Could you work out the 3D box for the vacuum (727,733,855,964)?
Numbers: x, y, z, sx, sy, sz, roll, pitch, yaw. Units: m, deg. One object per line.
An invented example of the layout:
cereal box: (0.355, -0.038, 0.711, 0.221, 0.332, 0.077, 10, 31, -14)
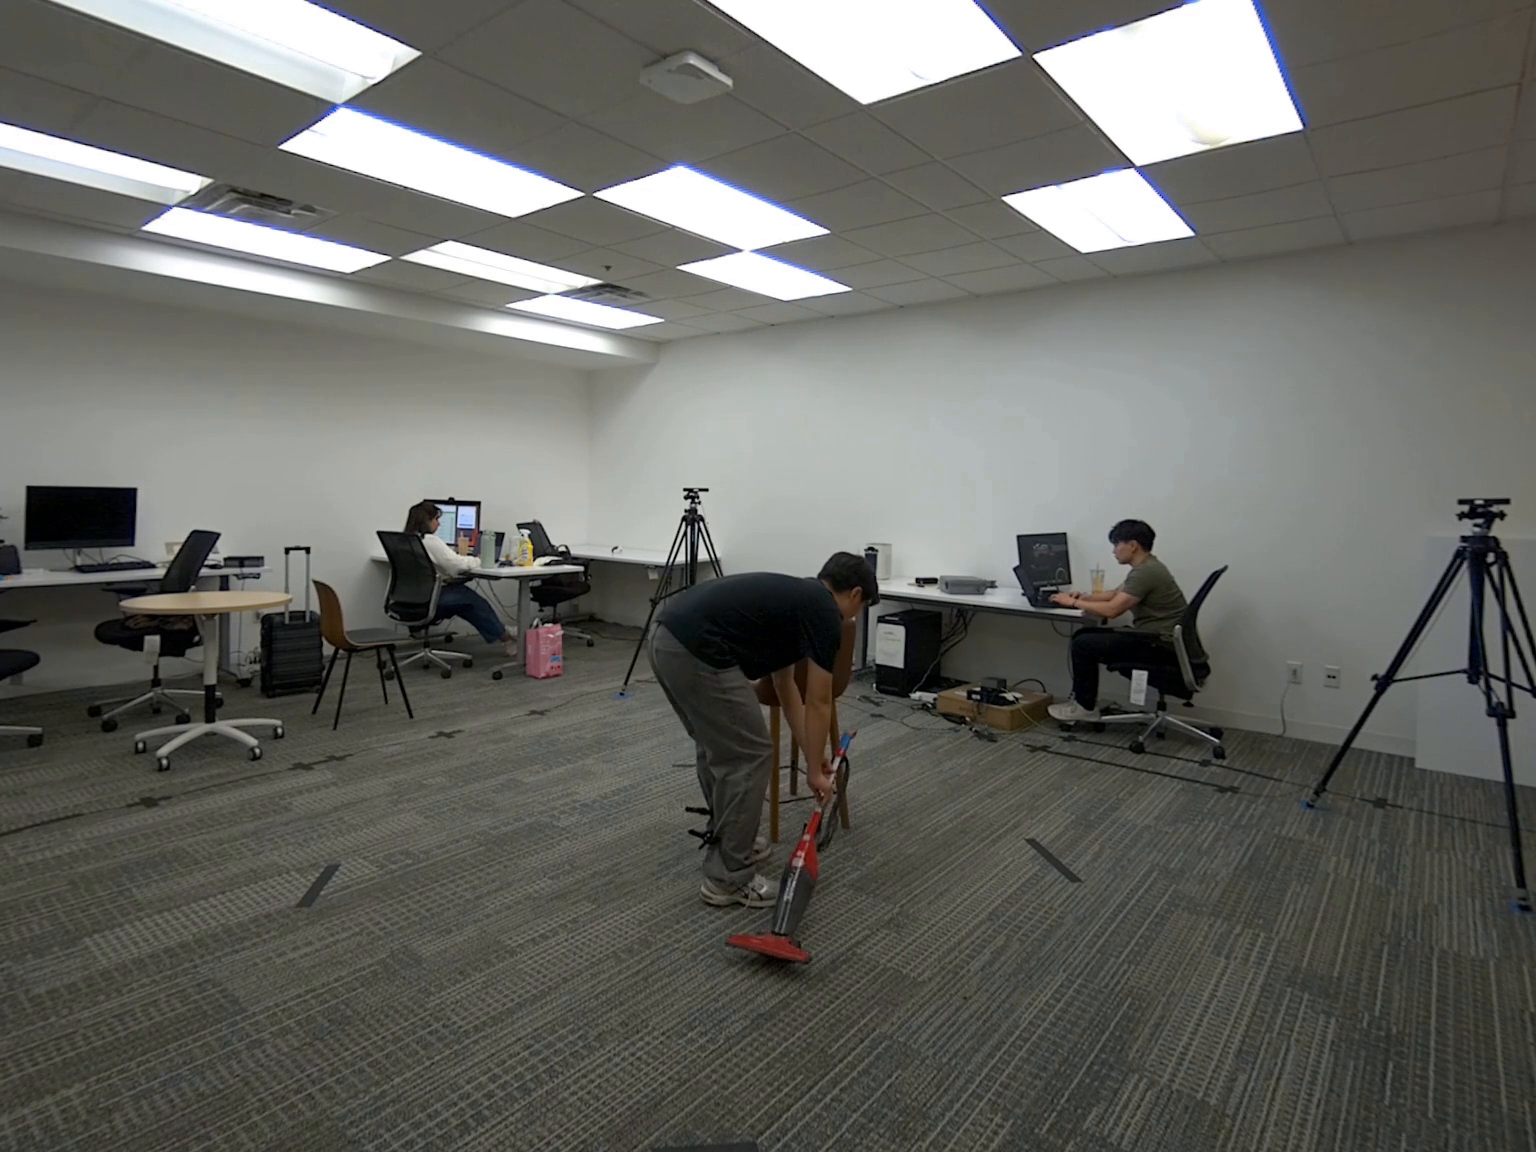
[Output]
vacuum: (0.178, 0.870, 2.919, 0.258, 0.140, 1.051, 3, 28, 20)
